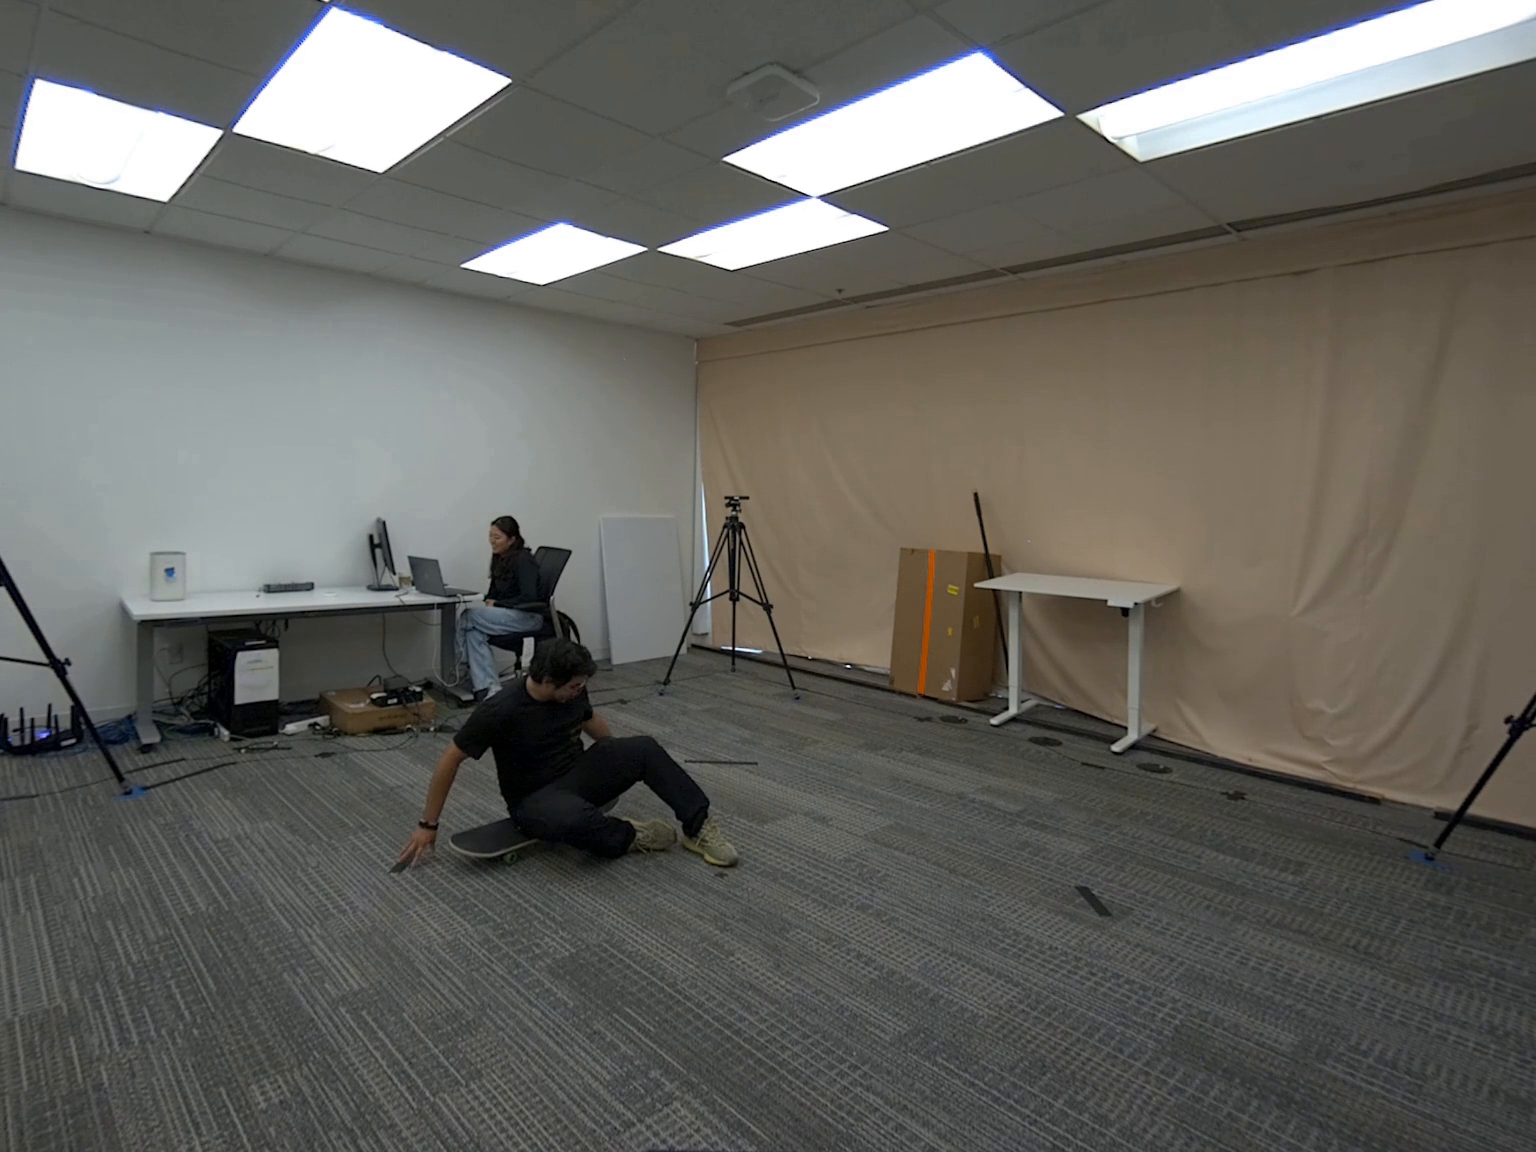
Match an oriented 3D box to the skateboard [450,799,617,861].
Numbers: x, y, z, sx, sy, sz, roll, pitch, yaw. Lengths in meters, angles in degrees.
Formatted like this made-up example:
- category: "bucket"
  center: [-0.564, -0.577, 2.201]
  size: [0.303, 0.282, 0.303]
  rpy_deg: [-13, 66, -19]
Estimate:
- category: "skateboard"
  center: [-0.912, 1.004, 3.356]
  size: [0.199, 0.109, 0.768]
  rpy_deg: [17, 14, 36]
